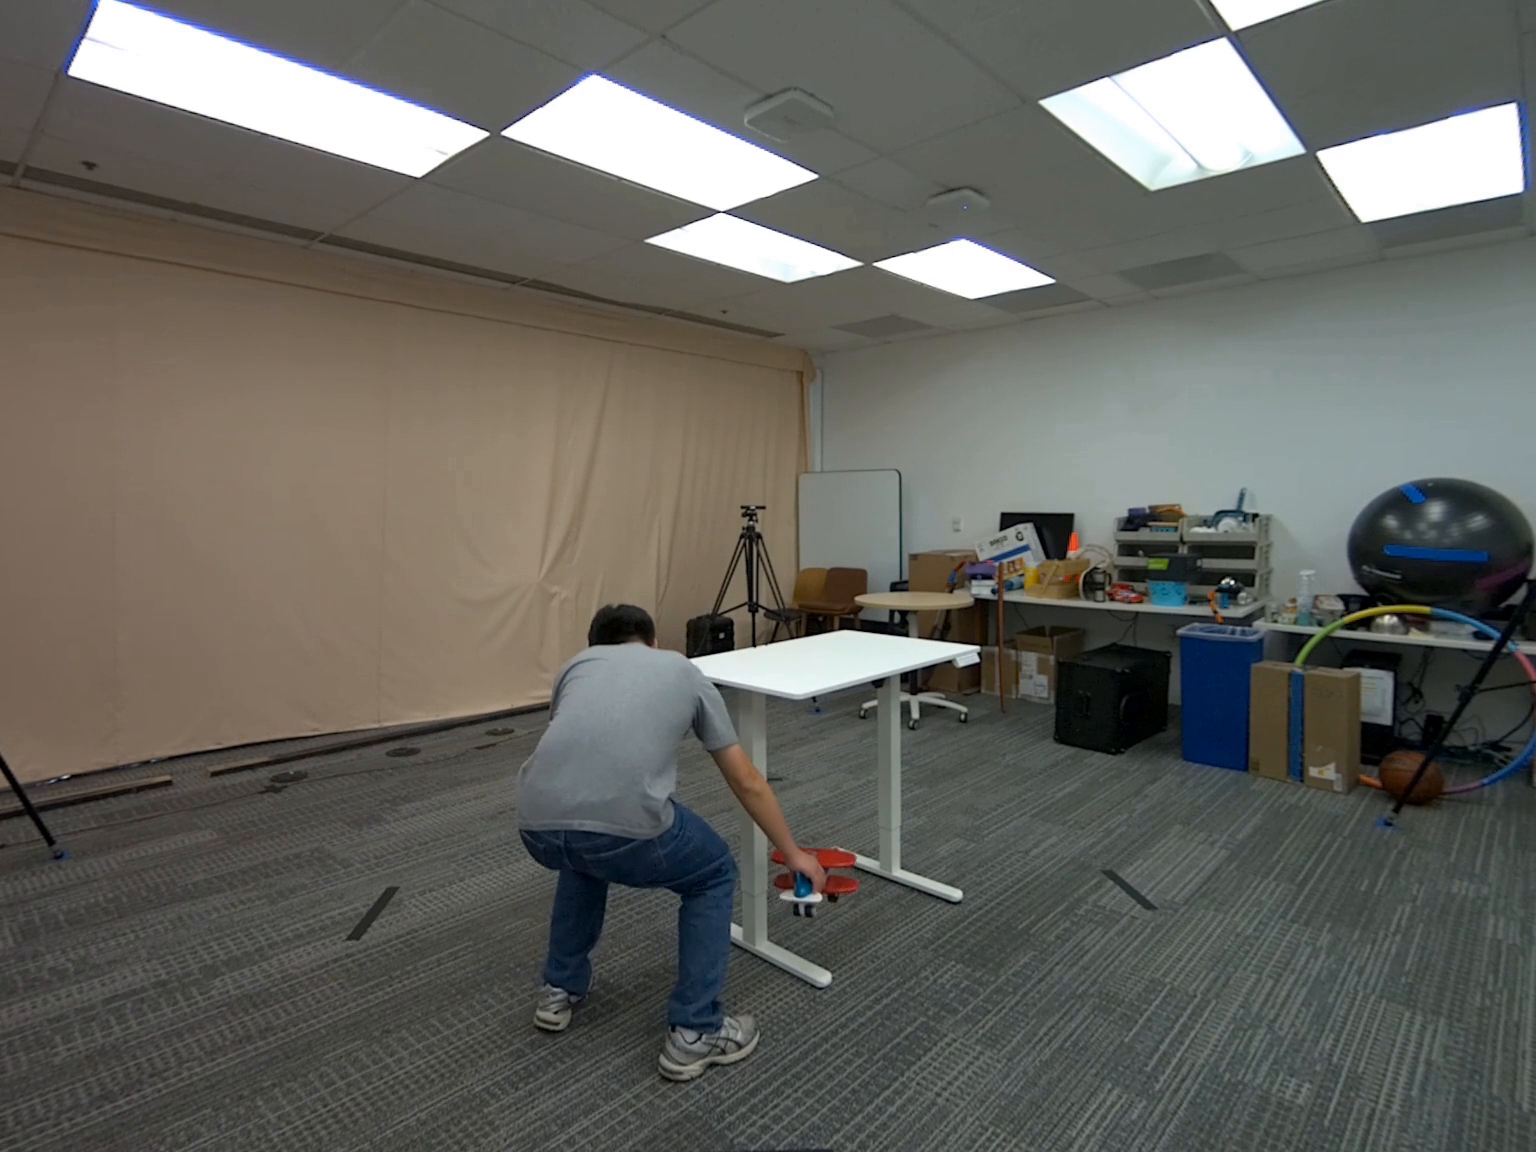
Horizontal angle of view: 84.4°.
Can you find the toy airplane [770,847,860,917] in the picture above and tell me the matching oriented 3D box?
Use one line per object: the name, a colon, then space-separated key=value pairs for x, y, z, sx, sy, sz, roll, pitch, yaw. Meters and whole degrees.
toy airplane: x=0.143 y=0.880 z=2.440 sx=0.249 sy=0.157 sz=0.260 roll=0 pitch=-7 yaw=-8
